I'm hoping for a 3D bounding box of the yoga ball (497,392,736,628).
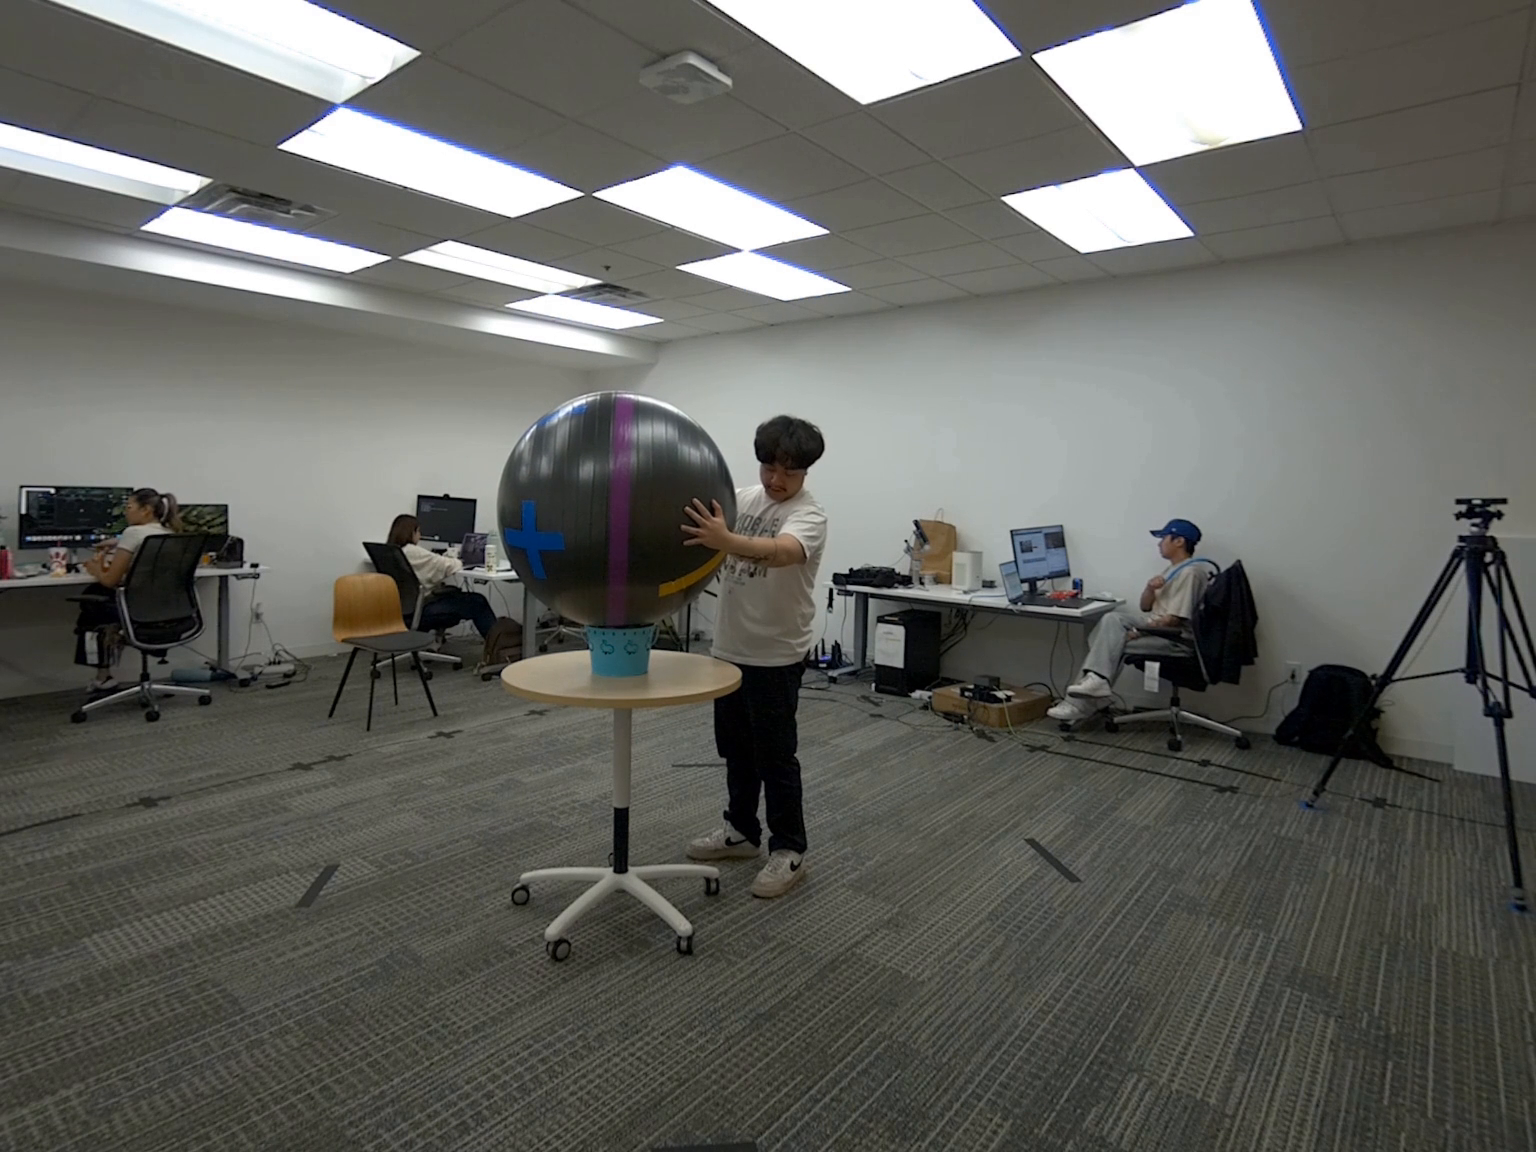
[{"bbox_3d":[-0.492,-0.212,2.733,0.757,0.756,0.761,1,4,-2],"label":"yoga ball"}]
